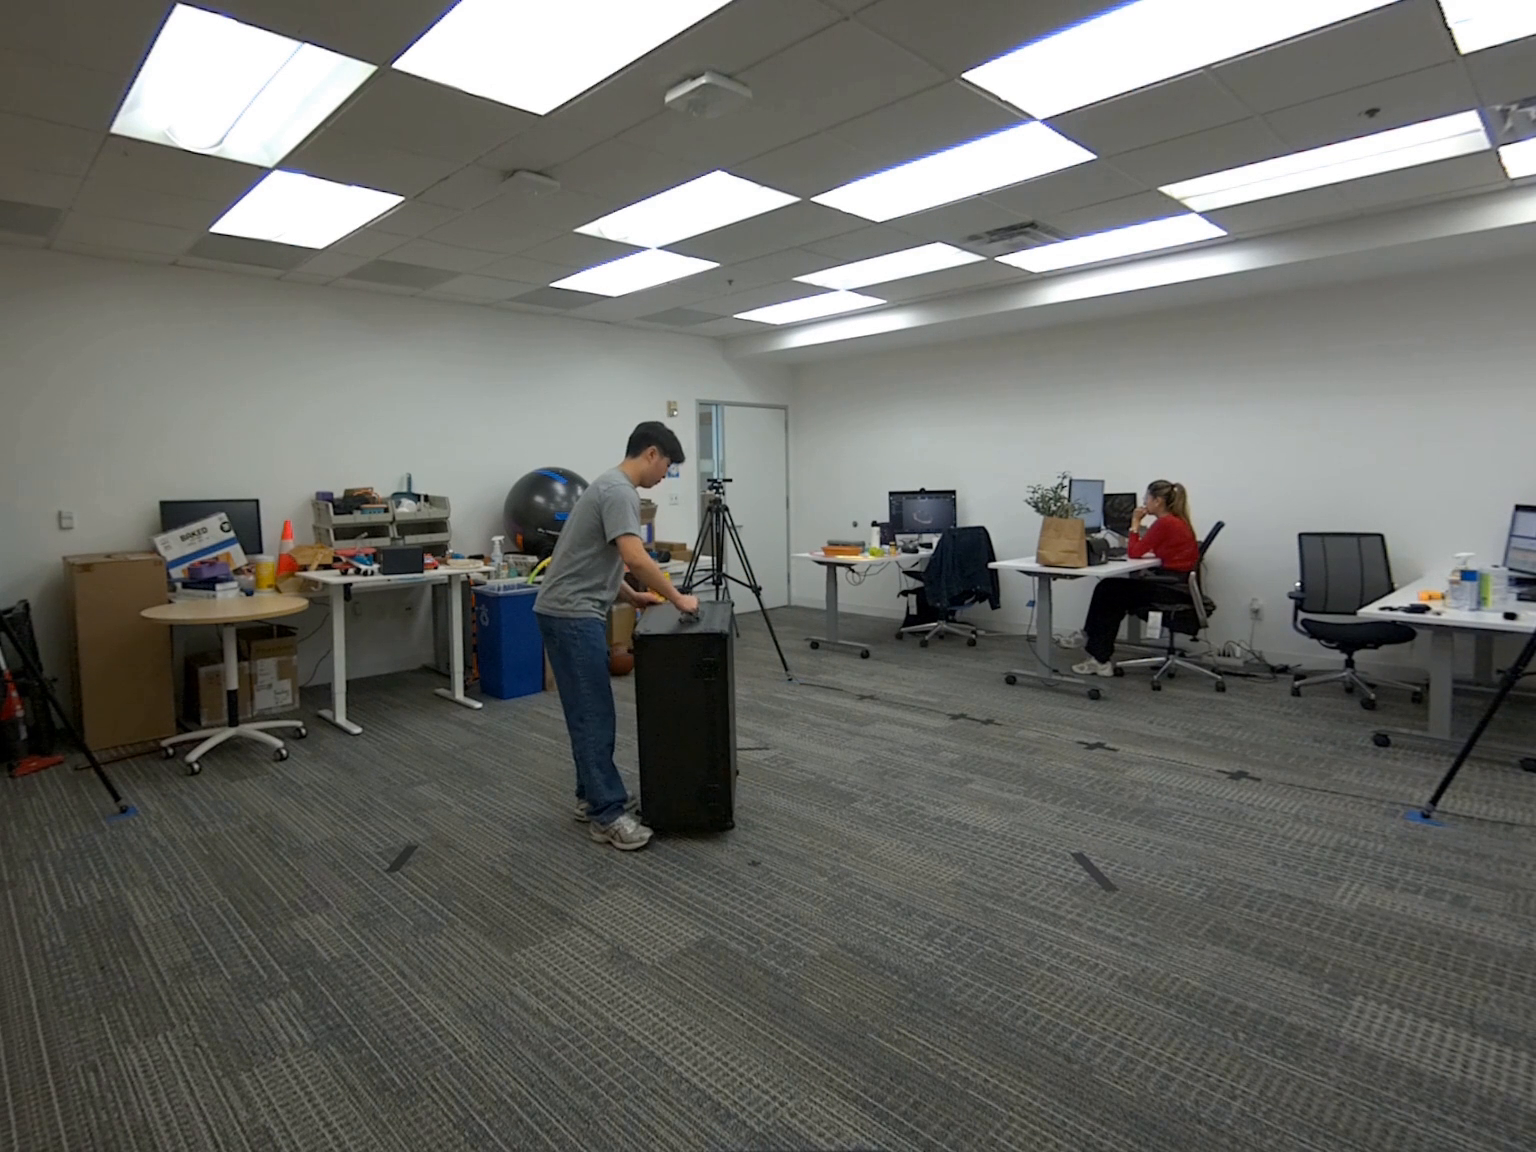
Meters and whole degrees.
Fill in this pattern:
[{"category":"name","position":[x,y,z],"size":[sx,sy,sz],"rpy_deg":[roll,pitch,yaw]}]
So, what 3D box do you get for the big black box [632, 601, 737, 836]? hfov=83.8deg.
[{"category":"big black box","position":[-0.329,0.572,3.461],"size":[0.397,0.853,0.525],"rpy_deg":[-2,11,1]}]
